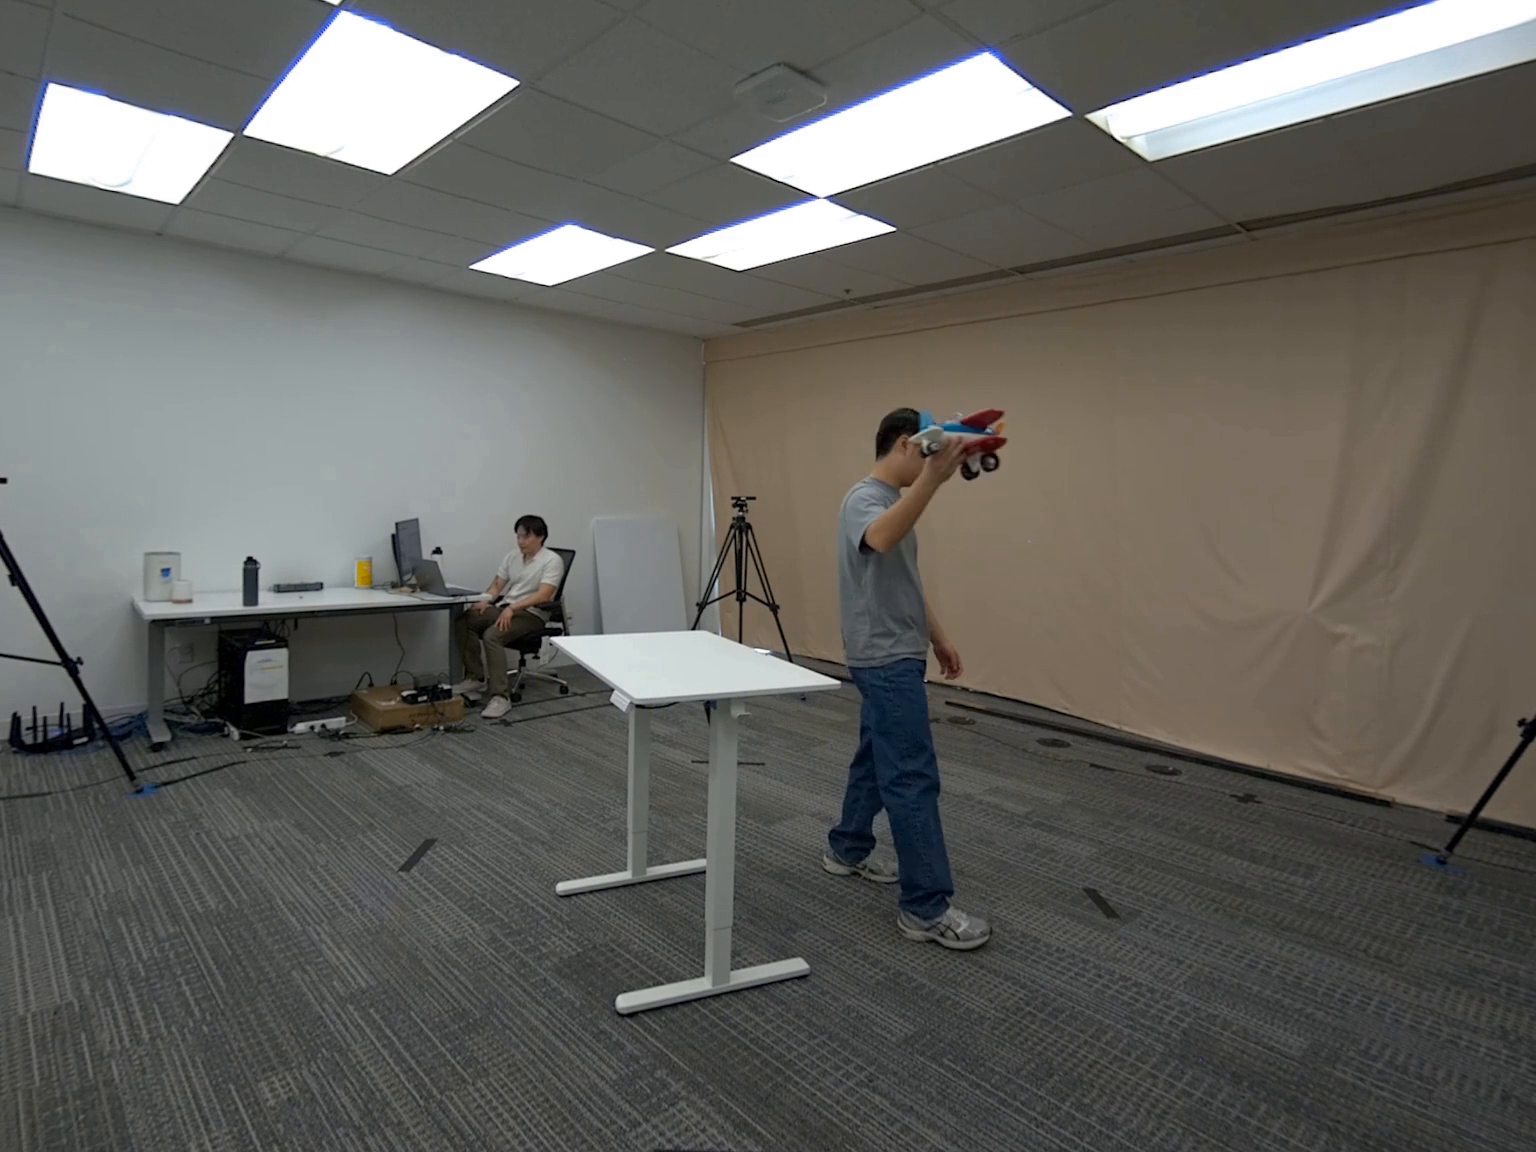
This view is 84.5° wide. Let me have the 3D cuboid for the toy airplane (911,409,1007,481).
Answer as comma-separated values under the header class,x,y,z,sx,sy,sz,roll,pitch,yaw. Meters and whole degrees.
class,x,y,z,sx,sy,sz,roll,pitch,yaw
toy airplane,0.546,-0.386,2.369,0.256,0.158,0.251,-3,-23,38
